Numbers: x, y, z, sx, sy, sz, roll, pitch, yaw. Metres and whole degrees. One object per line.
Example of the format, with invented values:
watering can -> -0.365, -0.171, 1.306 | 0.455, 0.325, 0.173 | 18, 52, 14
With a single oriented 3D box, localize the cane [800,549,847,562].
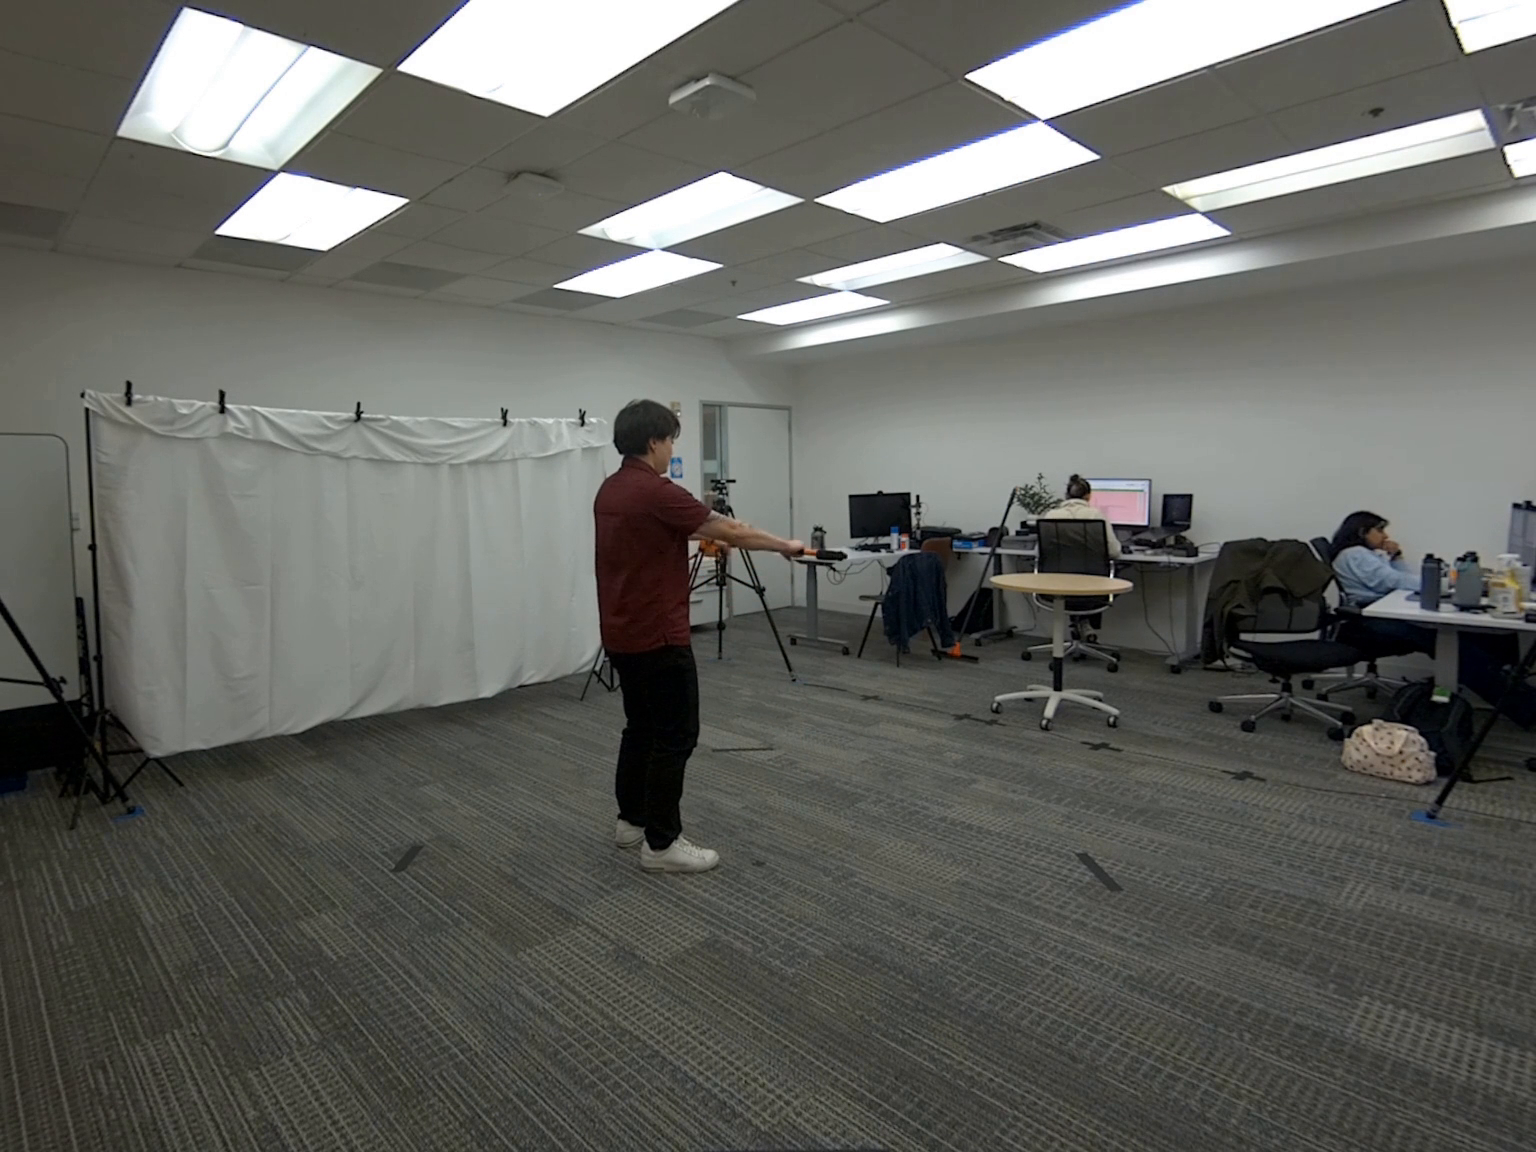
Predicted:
cane -> 0.000, -0.095, 3.375 | 0.200, 0.152, 0.935 | 8, 0, -35
